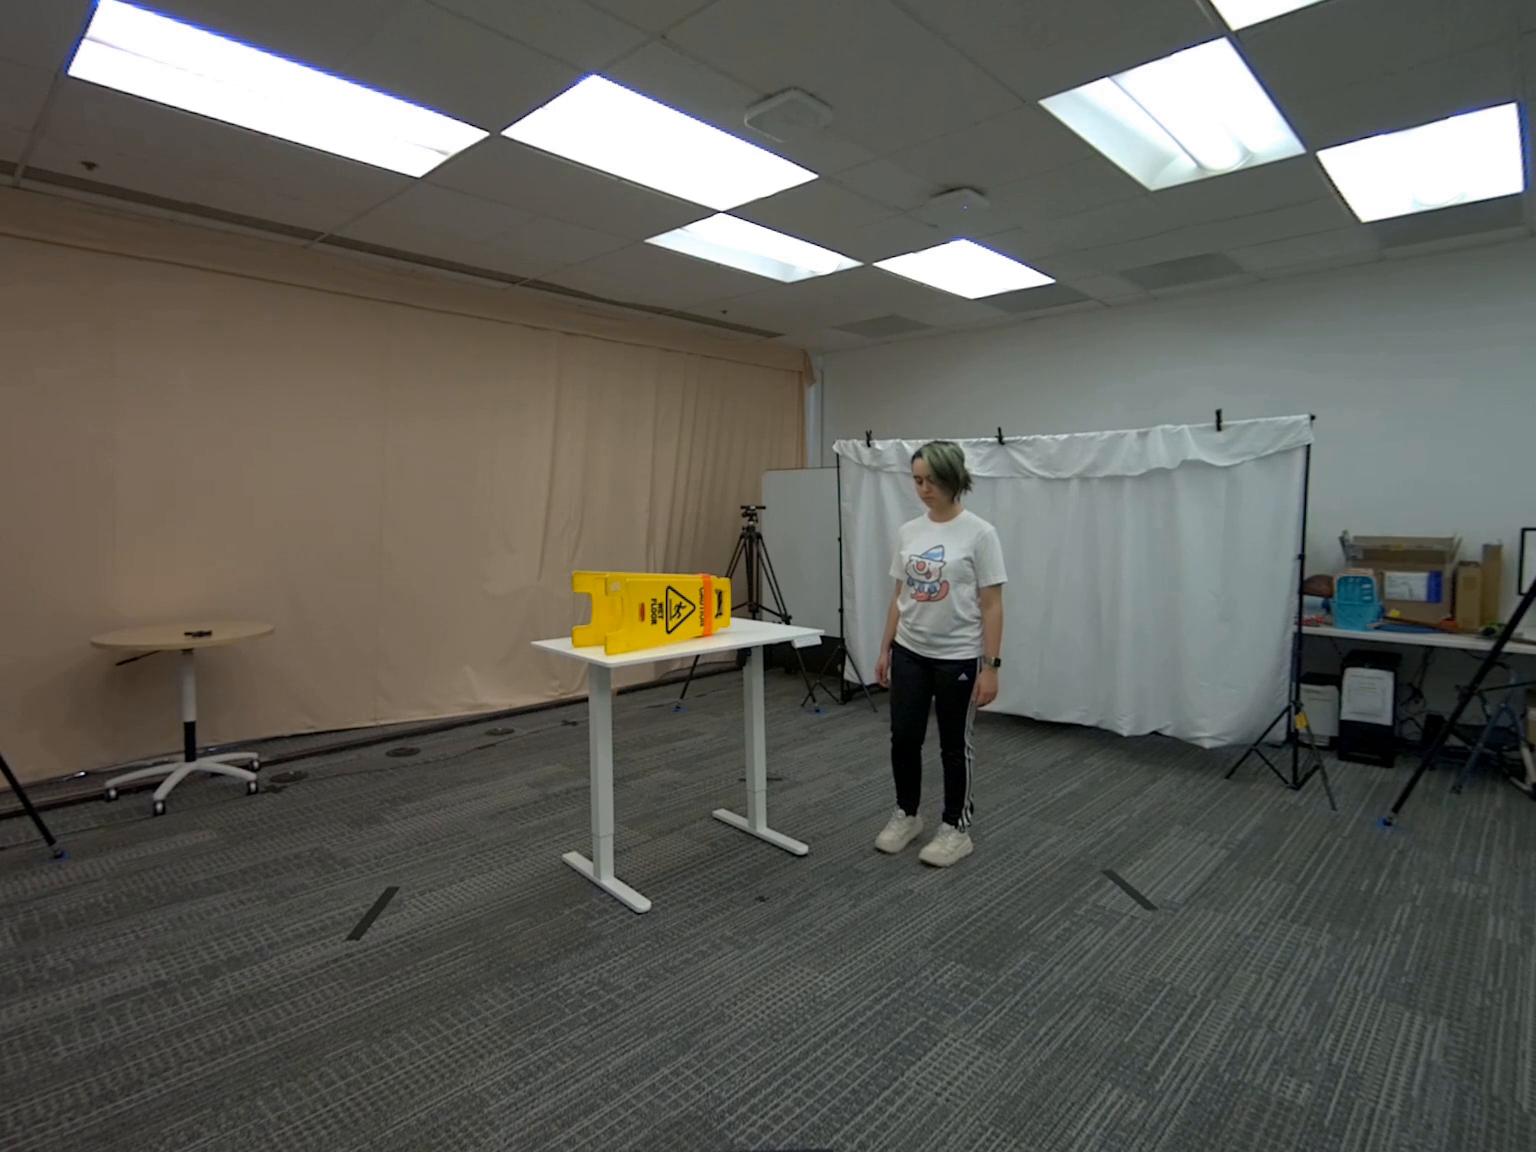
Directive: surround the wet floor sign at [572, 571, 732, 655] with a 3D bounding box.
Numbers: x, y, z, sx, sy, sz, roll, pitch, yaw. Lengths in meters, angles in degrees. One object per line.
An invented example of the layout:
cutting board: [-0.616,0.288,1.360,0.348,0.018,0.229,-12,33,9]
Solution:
wet floor sign: [-0.399,0.122,3.191,0.626,0.282,0.299,-2,4,-40]
